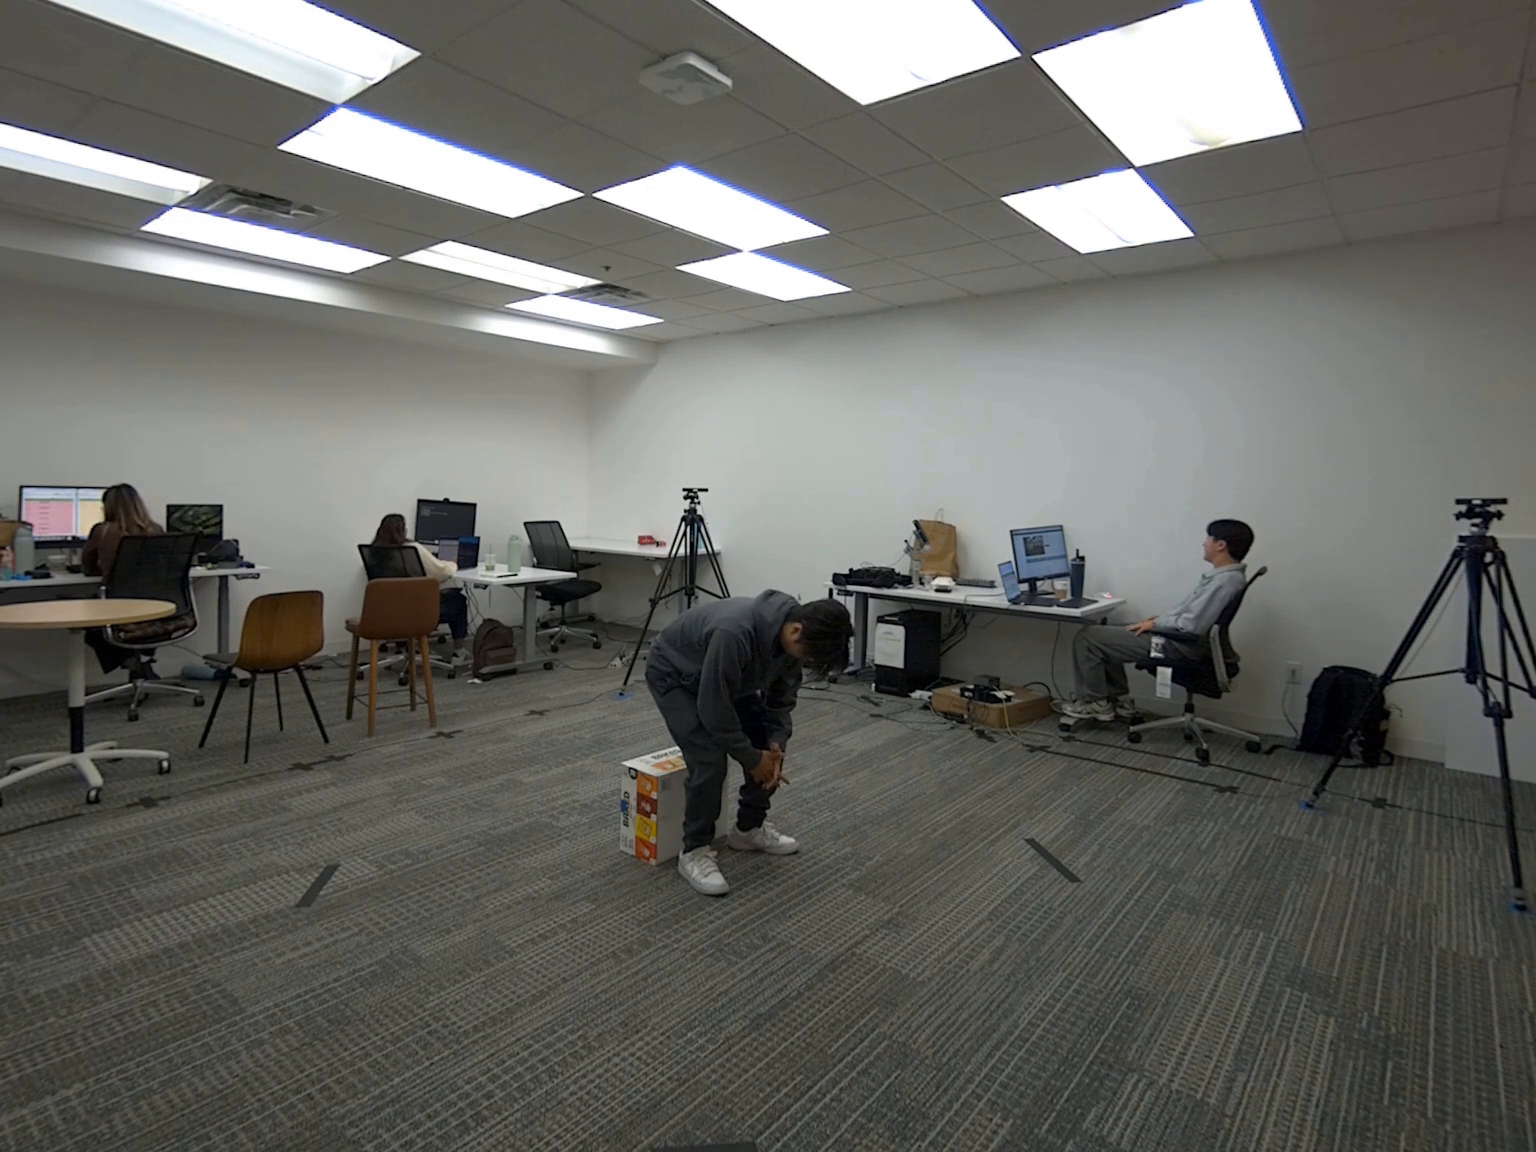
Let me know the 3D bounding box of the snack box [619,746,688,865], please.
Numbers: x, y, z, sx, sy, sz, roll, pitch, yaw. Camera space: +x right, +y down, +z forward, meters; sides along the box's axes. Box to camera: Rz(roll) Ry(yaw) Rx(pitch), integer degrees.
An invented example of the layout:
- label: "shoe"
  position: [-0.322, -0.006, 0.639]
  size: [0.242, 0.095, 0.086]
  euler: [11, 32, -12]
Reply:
- label: "snack box"
  position: [-0.374, 0.877, 3.335]
  size: [0.213, 0.339, 0.393]
  euler: [6, 6, 40]
